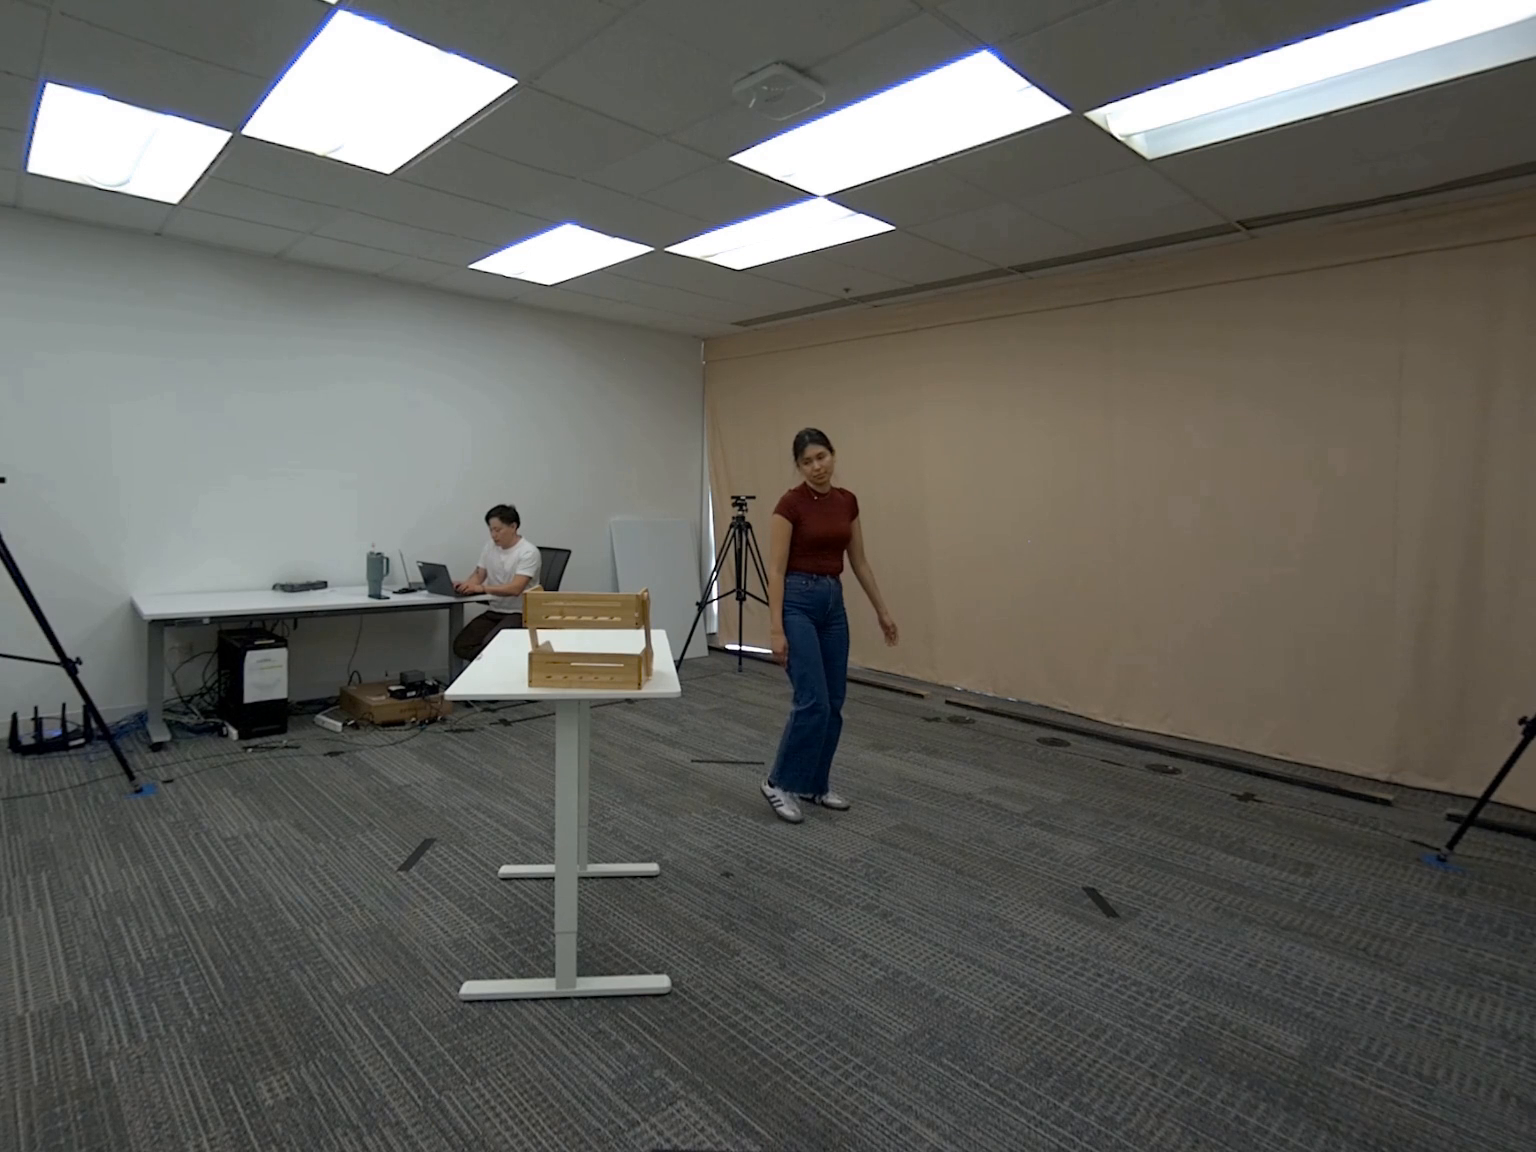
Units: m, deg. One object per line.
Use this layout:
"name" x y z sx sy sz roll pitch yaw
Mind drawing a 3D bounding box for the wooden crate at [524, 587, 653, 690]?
"wooden crate" -0.489 0.157 2.300 0.325 0.272 0.303 1 4 0
